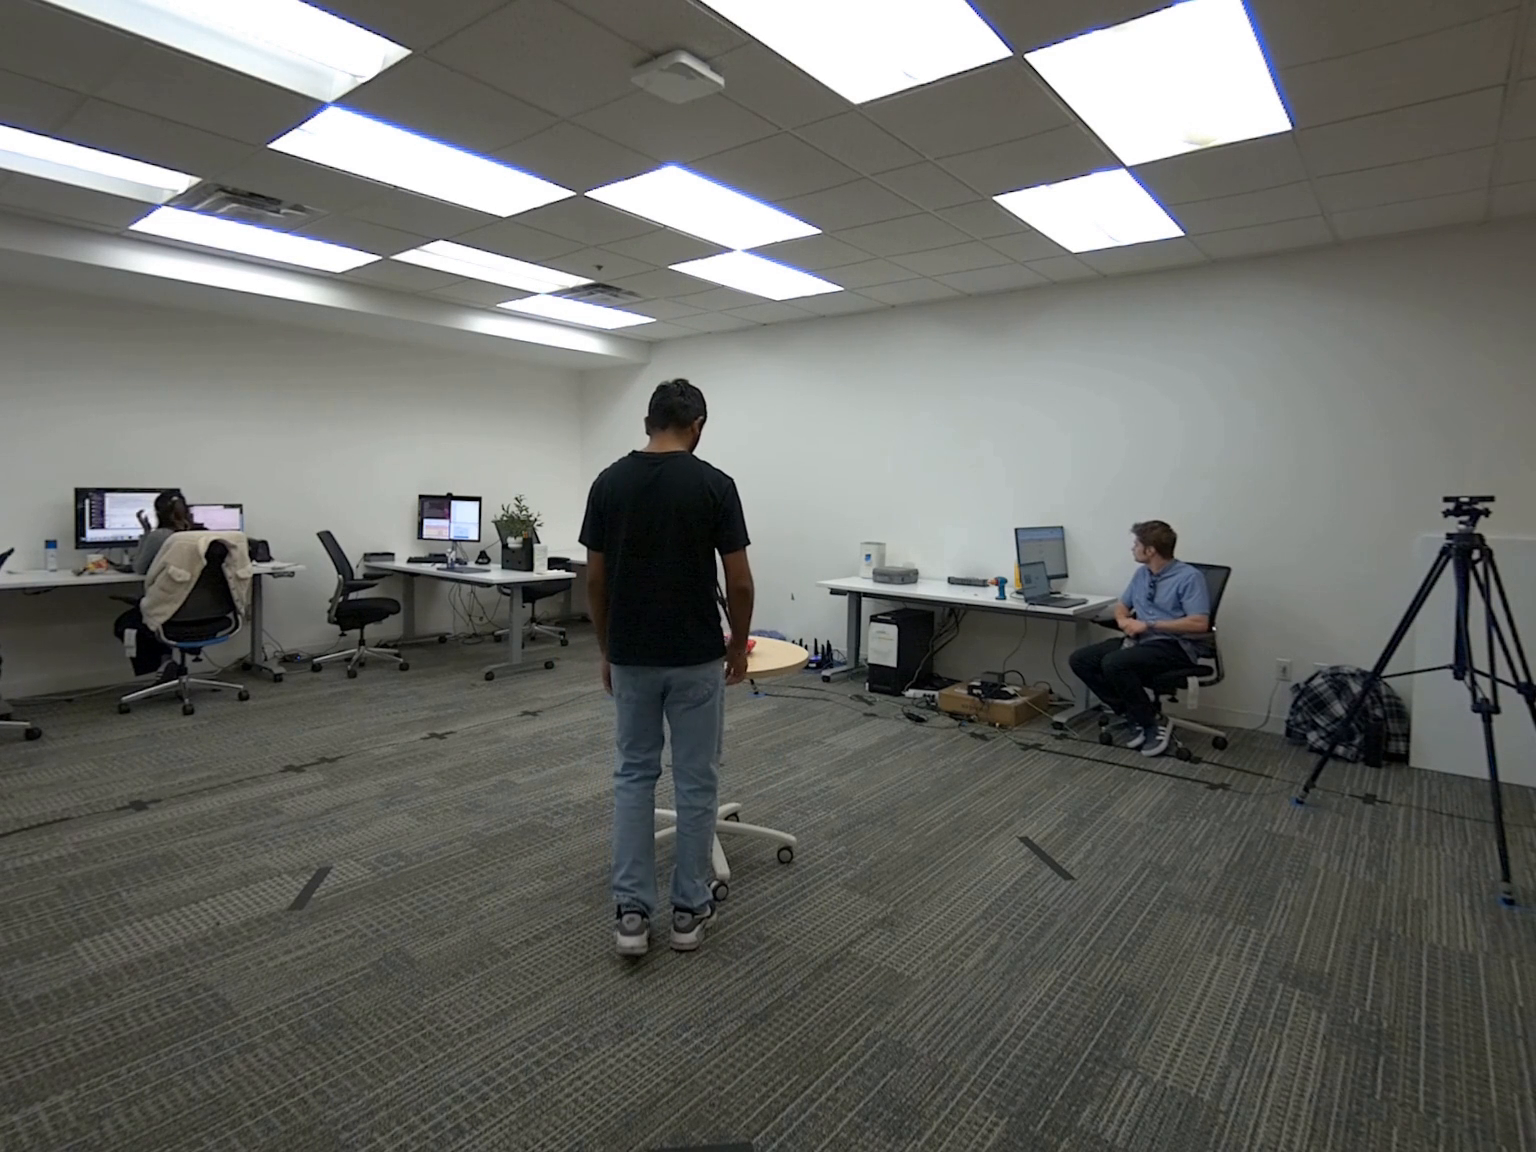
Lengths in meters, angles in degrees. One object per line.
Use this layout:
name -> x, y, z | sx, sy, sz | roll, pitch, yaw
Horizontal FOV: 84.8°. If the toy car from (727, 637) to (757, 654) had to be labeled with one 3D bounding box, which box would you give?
toy car -> -0.181, 0.248, 3.156 | 0.260, 0.083, 0.128 | 13, 8, 16
